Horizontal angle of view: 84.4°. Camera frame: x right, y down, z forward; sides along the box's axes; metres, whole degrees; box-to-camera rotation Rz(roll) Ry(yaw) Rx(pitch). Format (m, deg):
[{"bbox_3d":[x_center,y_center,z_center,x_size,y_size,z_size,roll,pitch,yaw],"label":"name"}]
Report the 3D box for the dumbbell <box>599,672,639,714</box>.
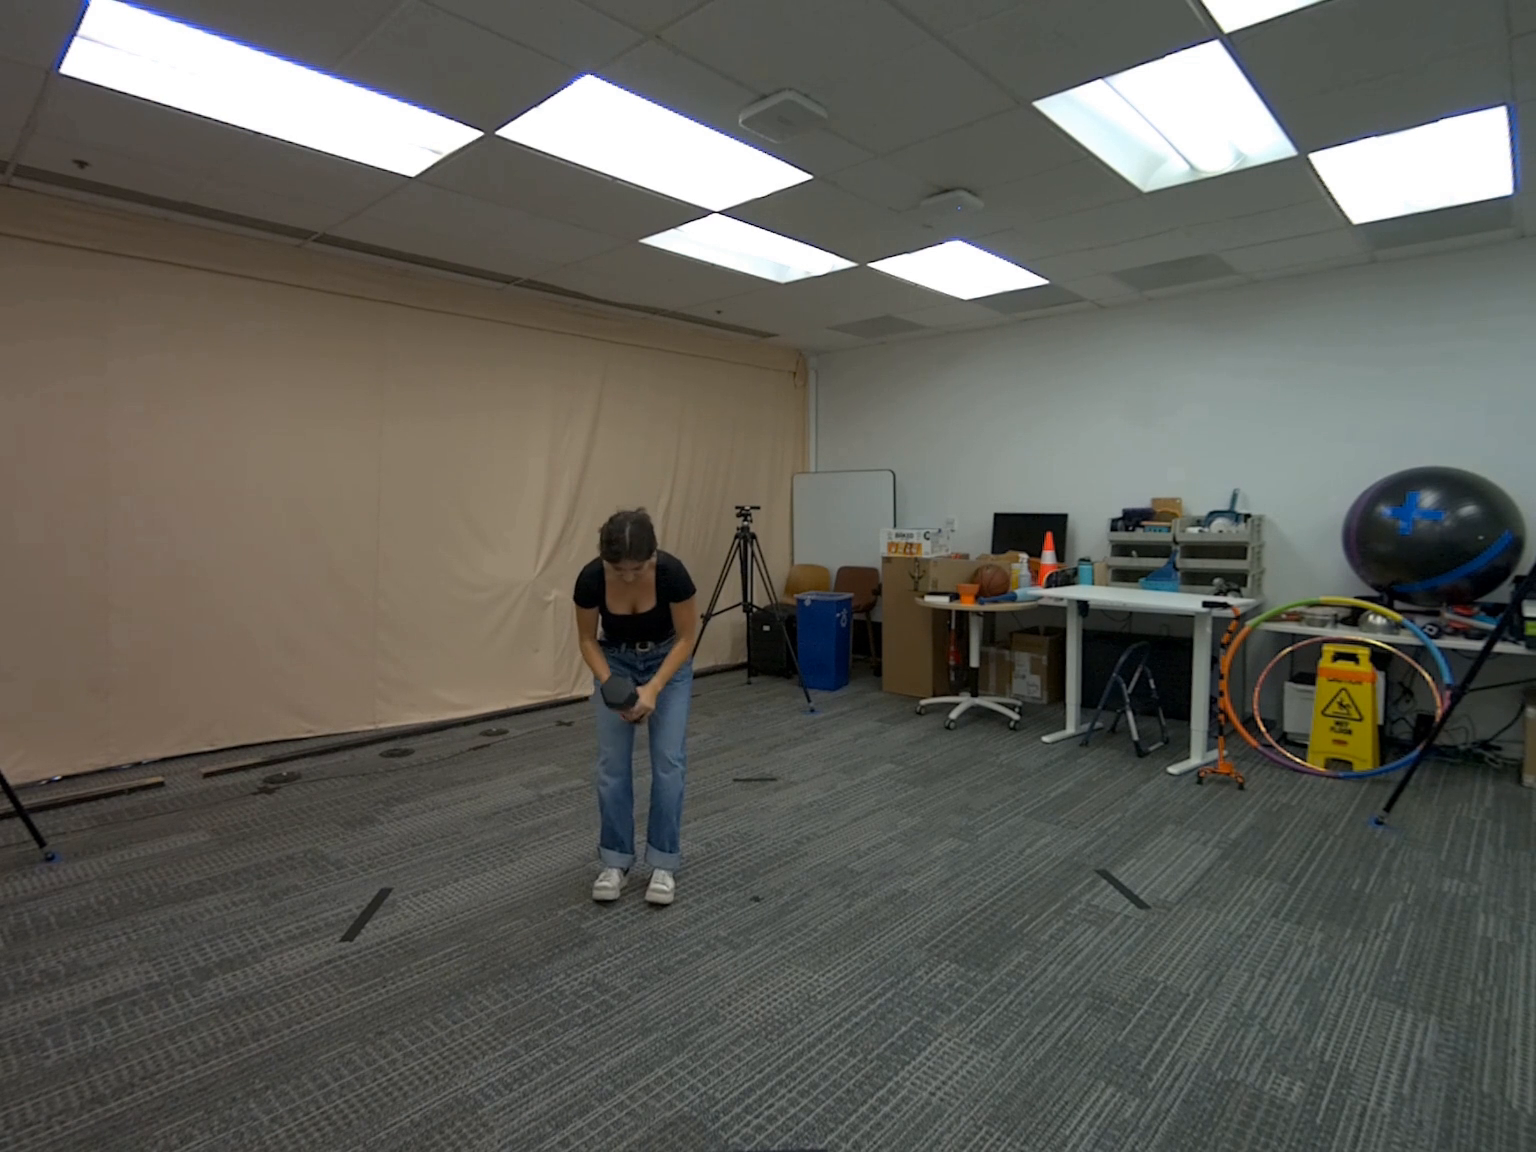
[{"bbox_3d":[-0.474,0.419,2.839,0.108,0.125,0.288,-20,-22,-6],"label":"dumbbell"}]
